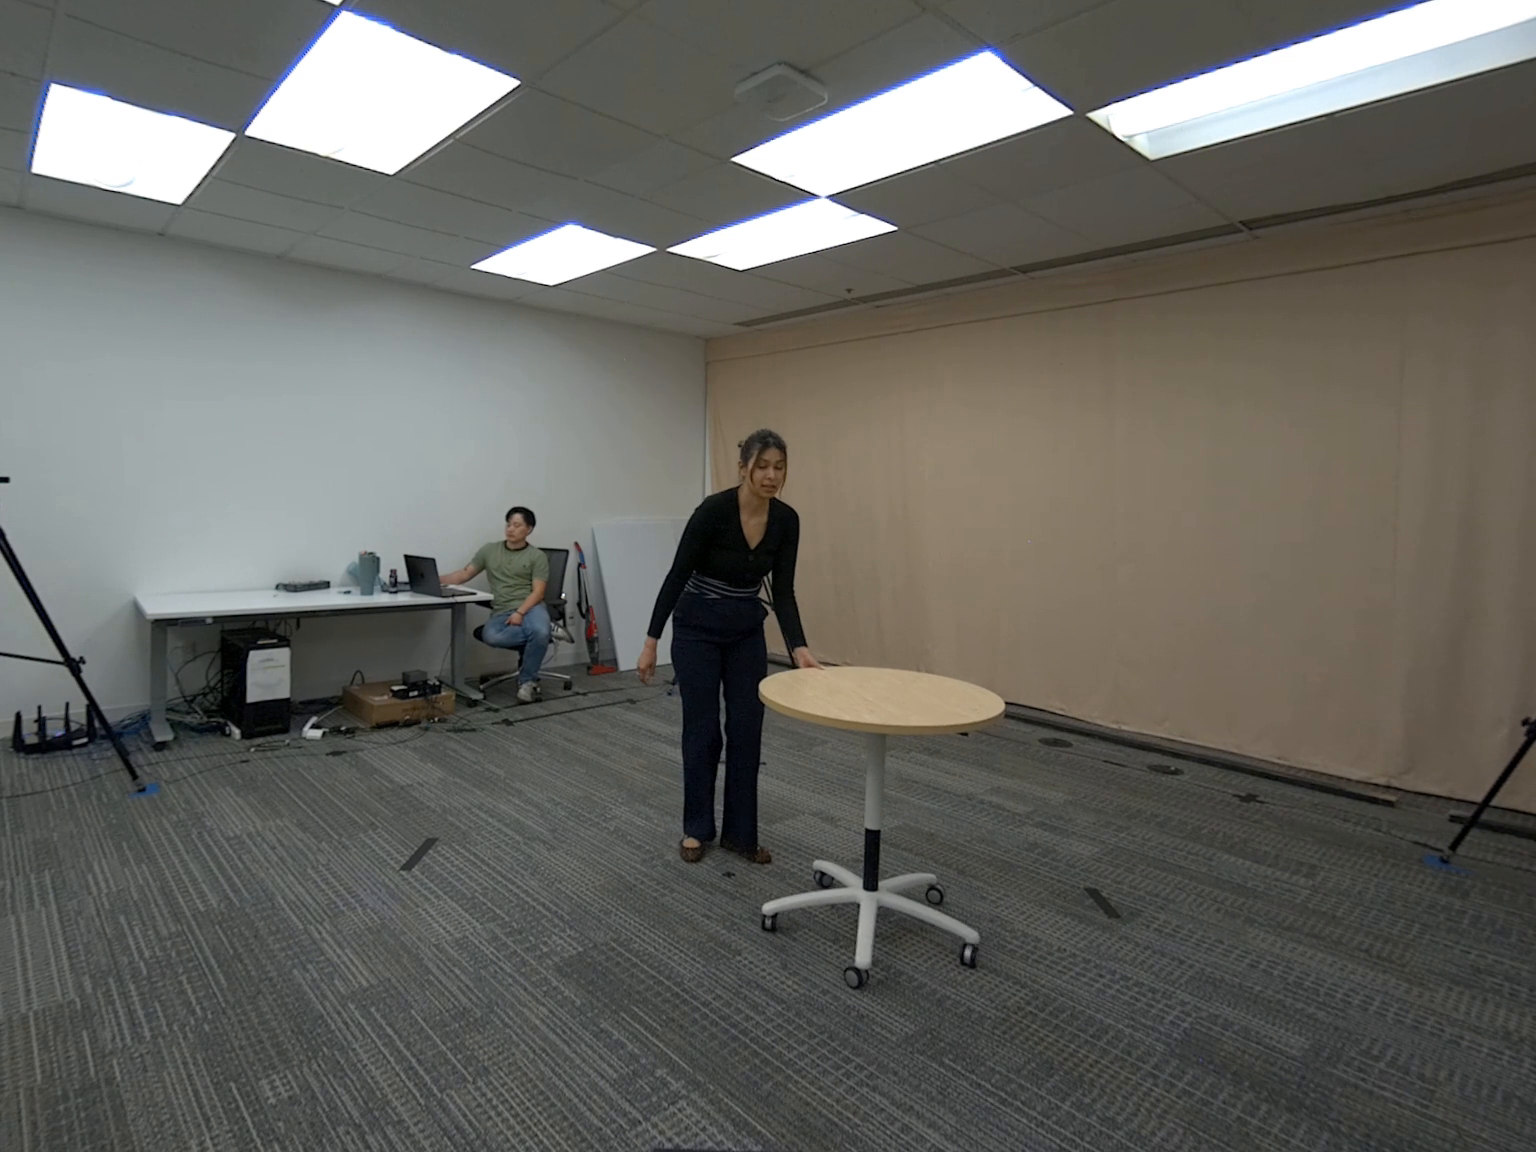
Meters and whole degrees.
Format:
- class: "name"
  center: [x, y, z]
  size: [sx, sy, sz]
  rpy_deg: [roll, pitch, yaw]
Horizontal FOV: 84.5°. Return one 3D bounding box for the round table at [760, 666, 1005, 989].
- class: "round table"
  center: [0.337, 0.763, 2.703]
  size: [0.763, 0.791, 0.767]
  rpy_deg: [2, 5, -2]
